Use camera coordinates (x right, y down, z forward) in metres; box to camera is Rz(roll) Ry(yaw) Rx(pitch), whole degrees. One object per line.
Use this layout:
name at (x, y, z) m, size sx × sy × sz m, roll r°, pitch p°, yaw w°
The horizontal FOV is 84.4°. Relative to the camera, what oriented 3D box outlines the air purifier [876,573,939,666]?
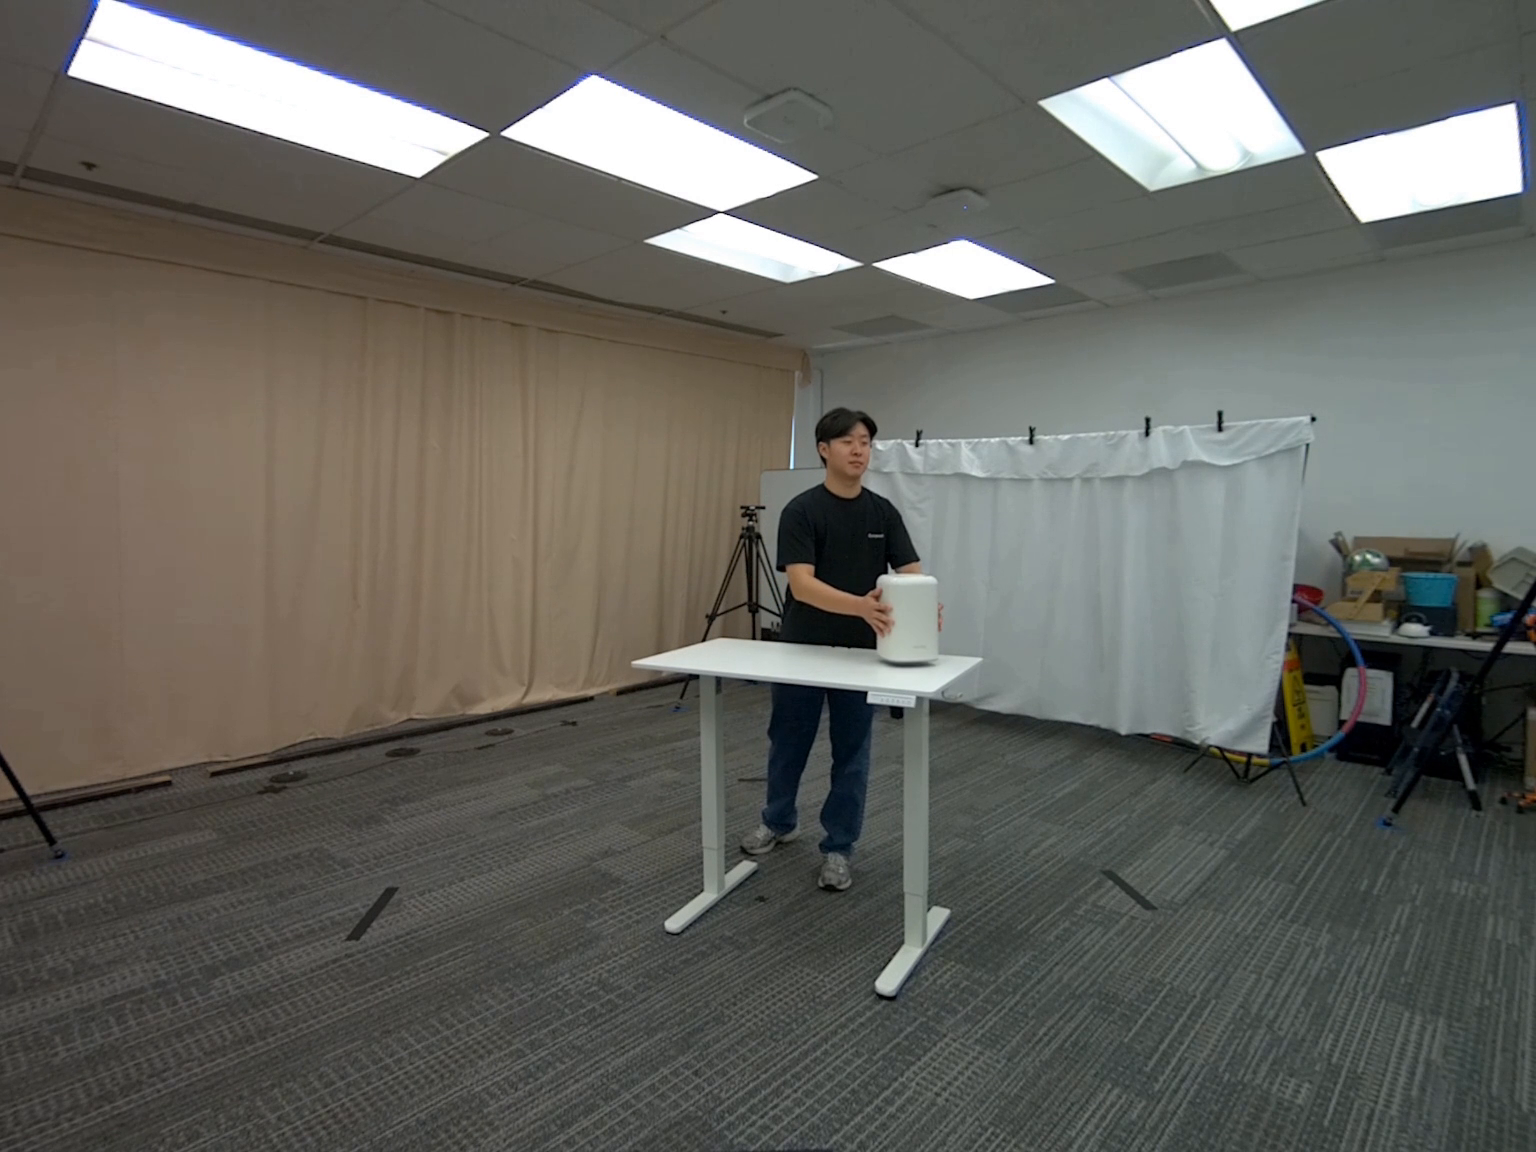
air purifier at (0.442, 0.132, 2.689) m, size 0.169 × 0.265 × 0.174 m, roll 0°, pitch 3°, yaw -13°
